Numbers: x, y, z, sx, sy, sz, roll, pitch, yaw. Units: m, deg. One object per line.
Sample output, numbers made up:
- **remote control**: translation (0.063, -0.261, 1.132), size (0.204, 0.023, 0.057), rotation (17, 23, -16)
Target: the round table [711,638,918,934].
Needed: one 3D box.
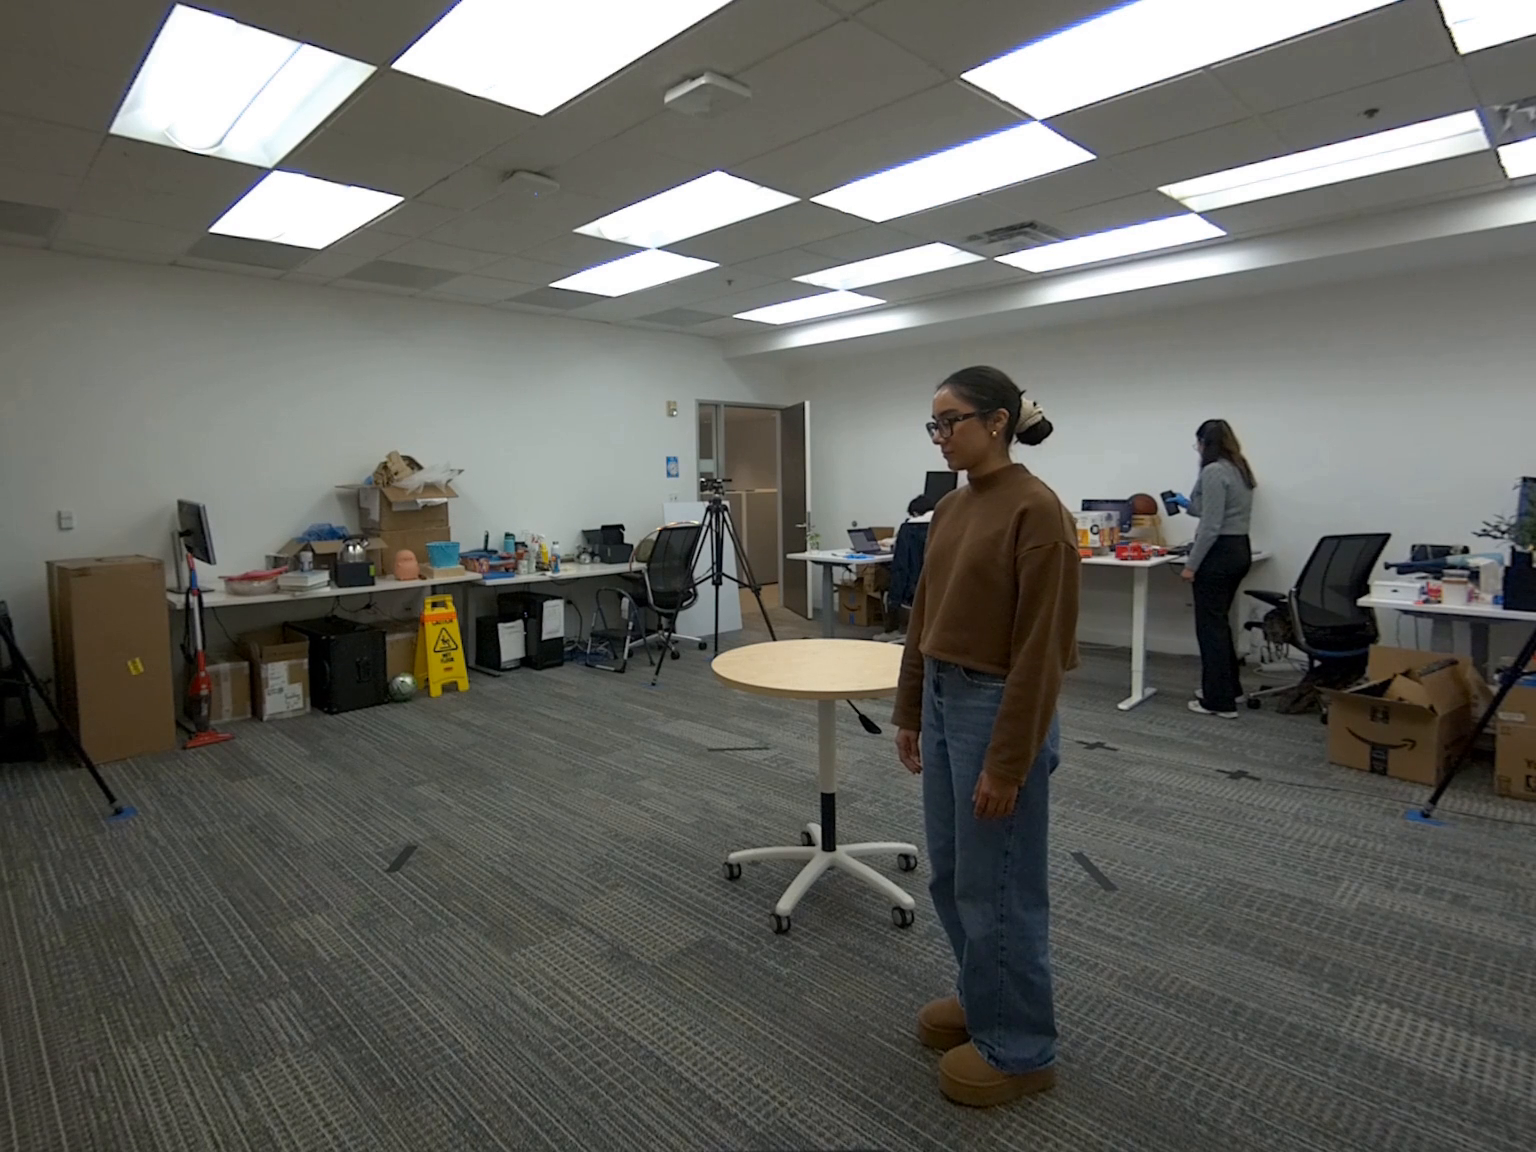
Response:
- **round table**: translation (0.209, 0.681, 2.874), size (0.763, 0.790, 0.768), rotation (-1, 5, -2)
